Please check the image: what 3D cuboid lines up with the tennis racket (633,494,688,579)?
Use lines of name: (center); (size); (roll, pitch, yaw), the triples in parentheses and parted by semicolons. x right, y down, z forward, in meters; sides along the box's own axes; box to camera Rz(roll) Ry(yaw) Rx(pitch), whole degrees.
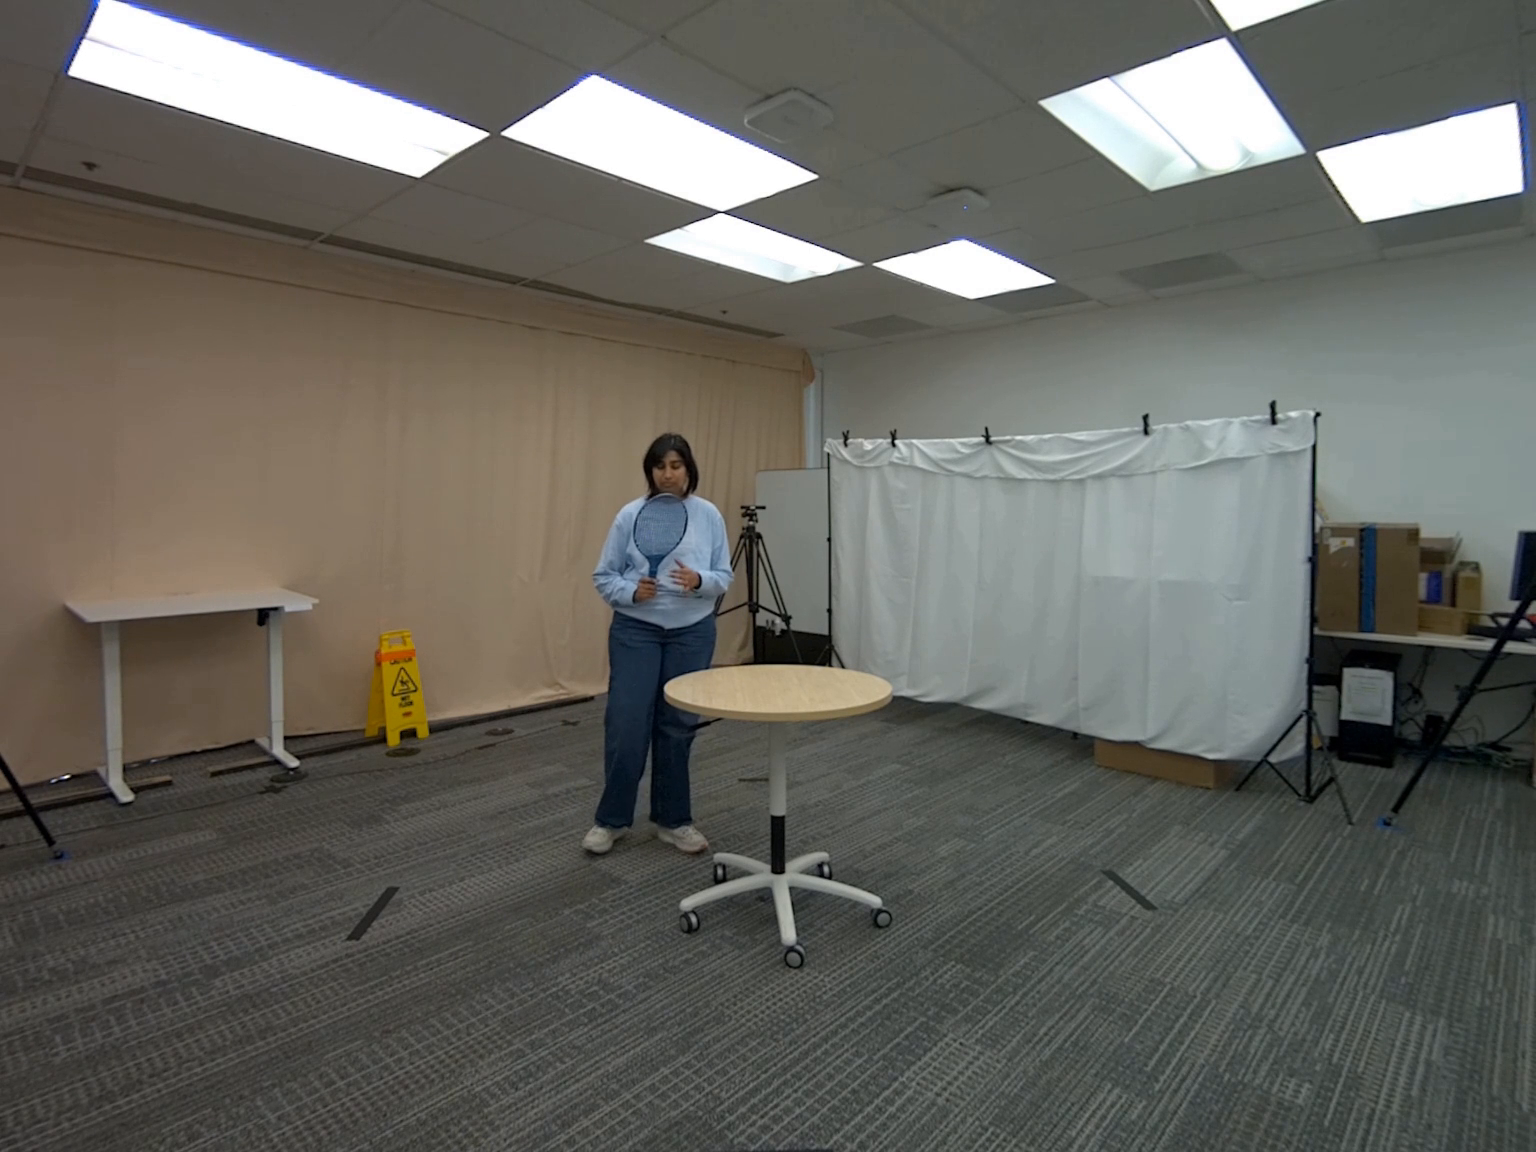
tennis racket: (-0.406, -0.109, 3.163); (0.215, 0.427, 0.032); (8, 28, 7)
